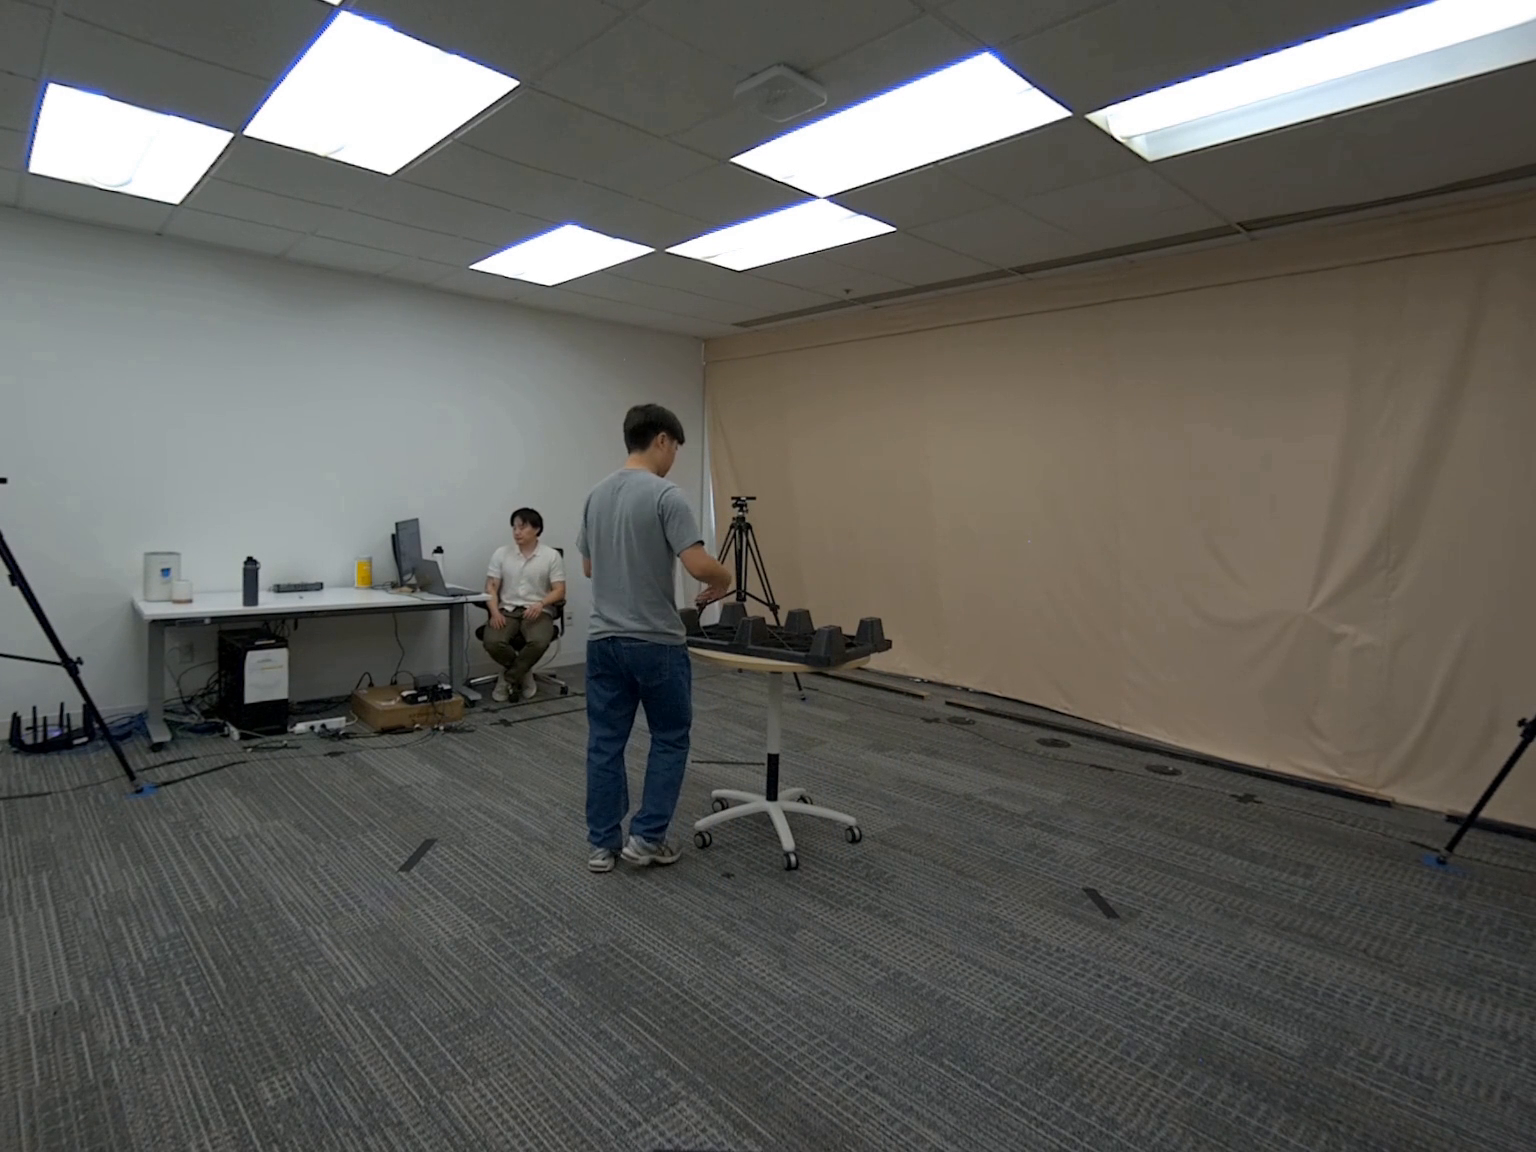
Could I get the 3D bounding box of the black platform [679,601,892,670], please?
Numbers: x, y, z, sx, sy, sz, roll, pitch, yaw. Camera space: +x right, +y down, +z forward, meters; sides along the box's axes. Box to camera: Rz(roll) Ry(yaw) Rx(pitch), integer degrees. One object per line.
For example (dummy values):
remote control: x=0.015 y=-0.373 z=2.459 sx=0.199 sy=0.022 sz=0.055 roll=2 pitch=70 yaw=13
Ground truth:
black platform: x=0.024 y=0.228 z=3.520 sx=0.824 sy=0.143 sz=0.592 roll=5 pitch=5 yaw=32
